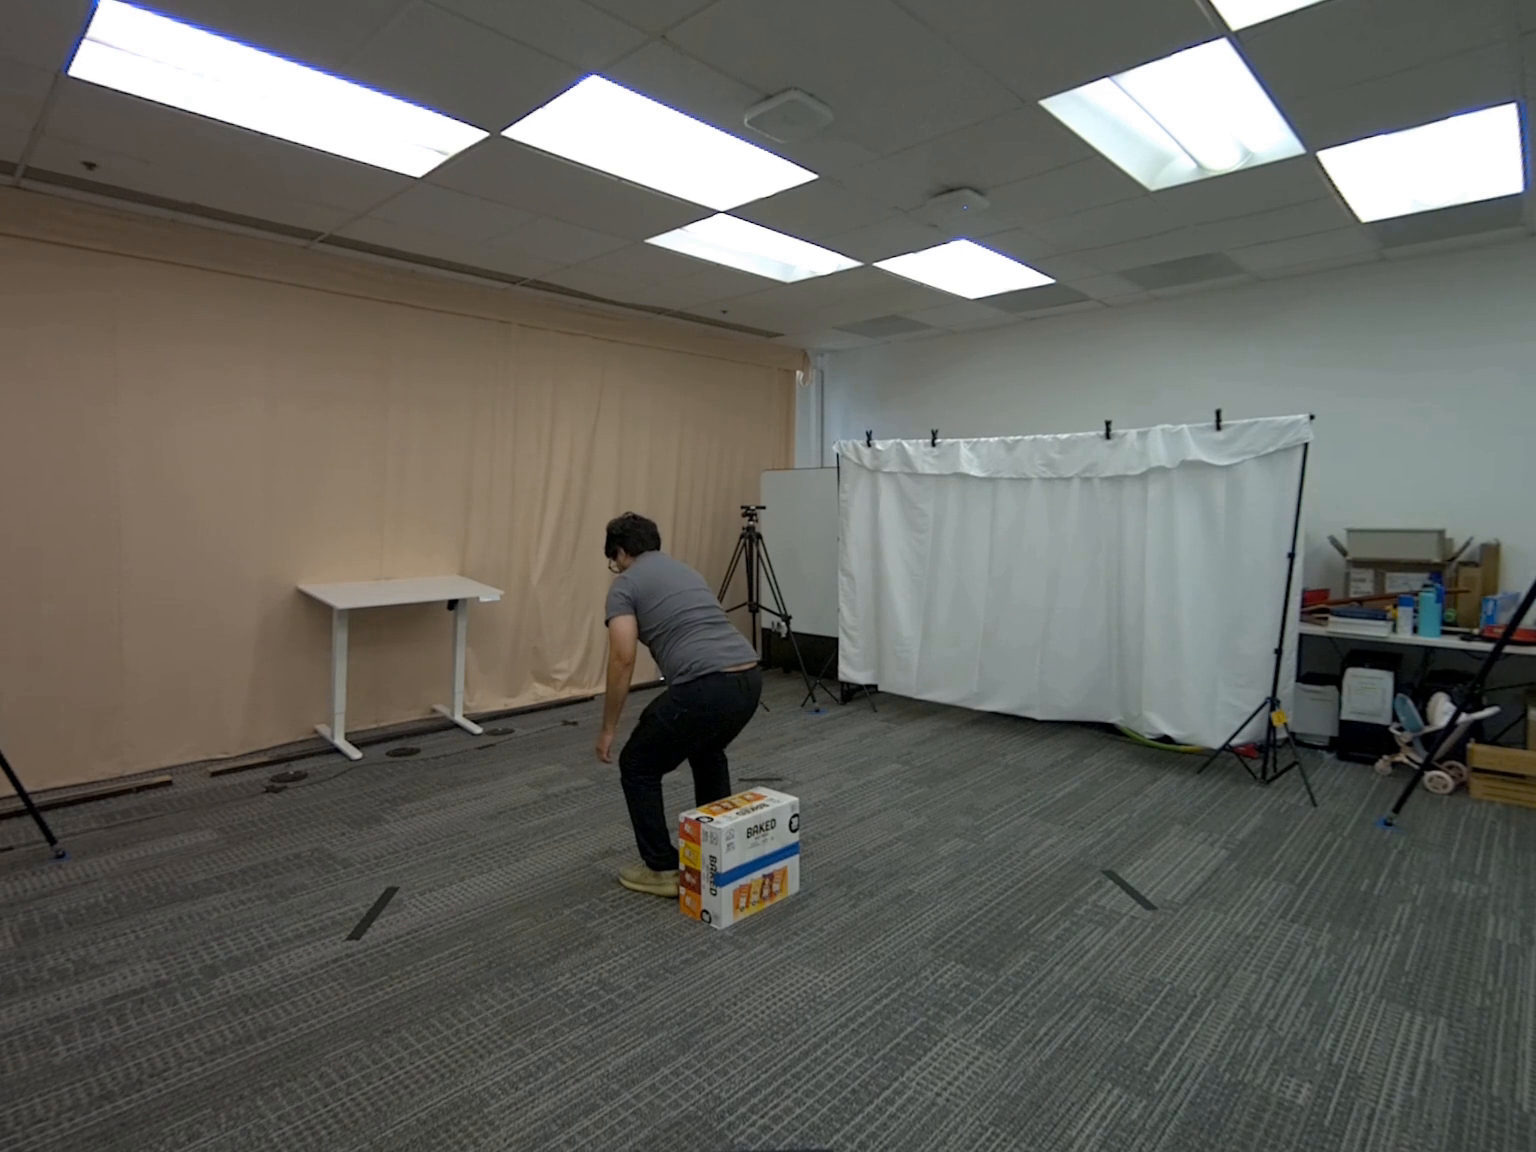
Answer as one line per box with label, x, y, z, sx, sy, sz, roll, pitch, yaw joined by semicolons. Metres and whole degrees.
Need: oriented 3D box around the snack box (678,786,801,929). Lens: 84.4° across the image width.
snack box;-0.092;0.976;2.962;0.212;0.340;0.393;3;5;44
